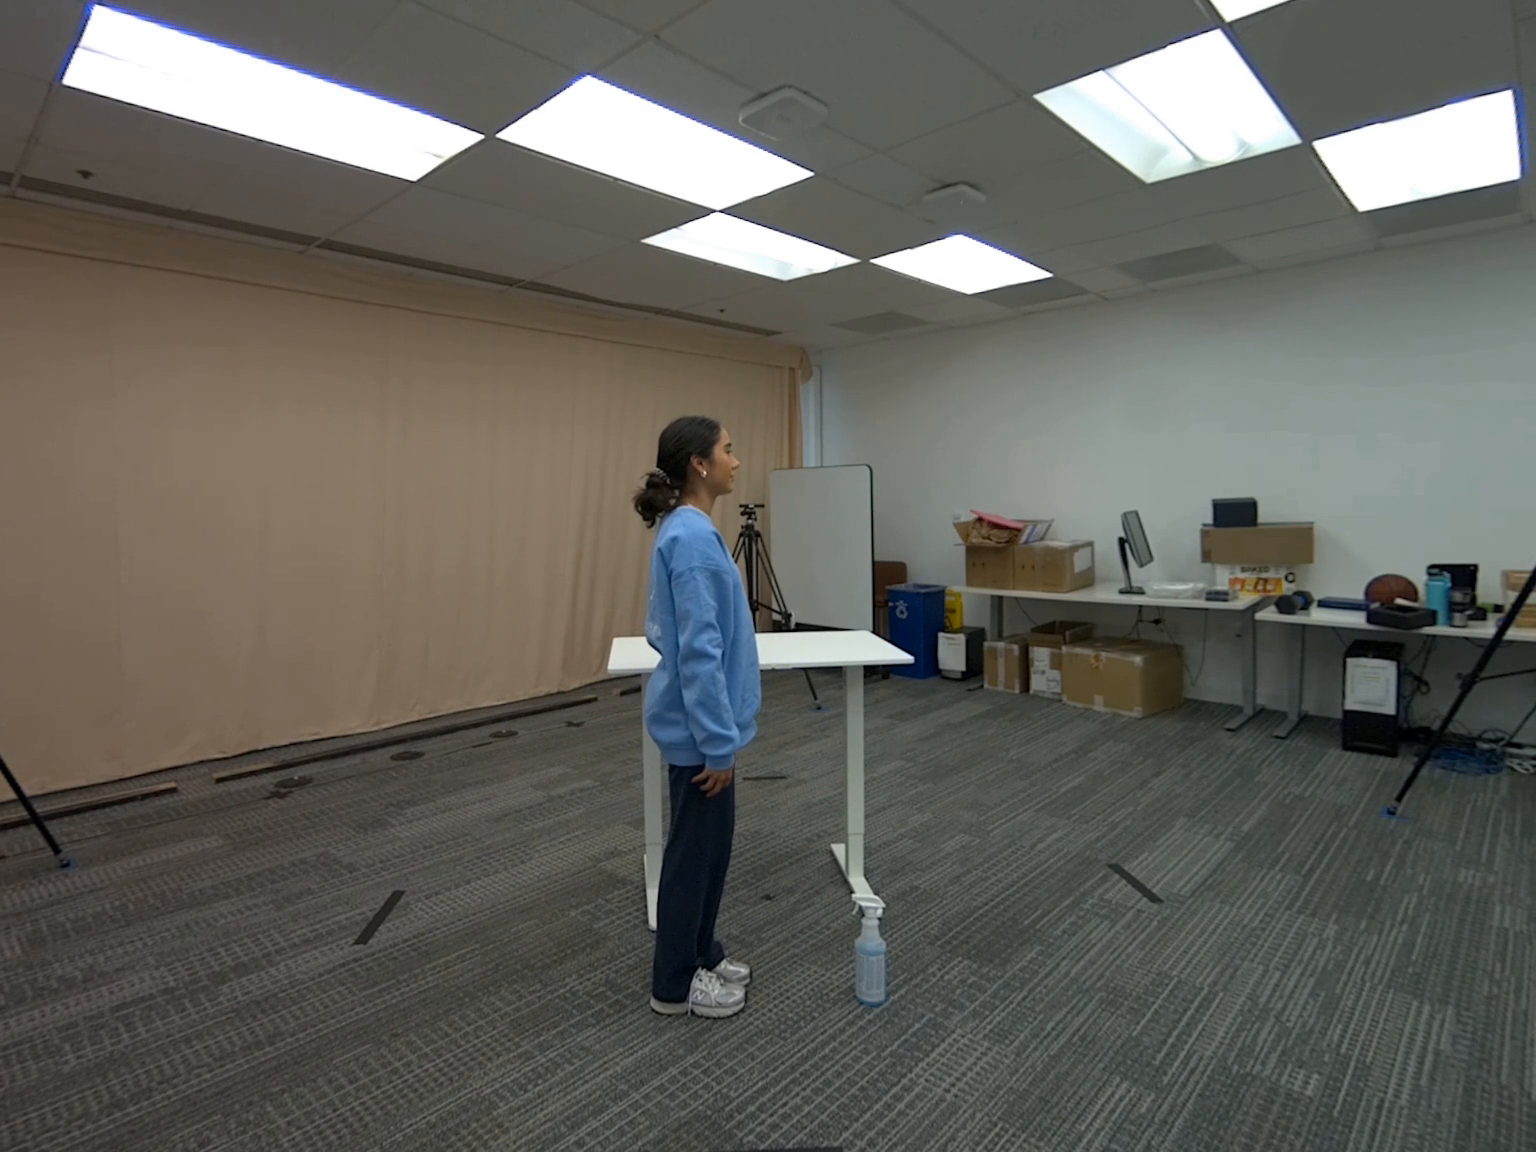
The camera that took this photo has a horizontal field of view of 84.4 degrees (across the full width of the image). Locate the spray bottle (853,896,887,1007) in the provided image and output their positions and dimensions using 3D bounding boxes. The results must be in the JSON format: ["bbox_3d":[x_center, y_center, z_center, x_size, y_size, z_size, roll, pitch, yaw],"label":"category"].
[{"bbox_3d":[0.292,1.050,2.350,0.092,0.297,0.085,0,2,25],"label":"spray bottle"}]
